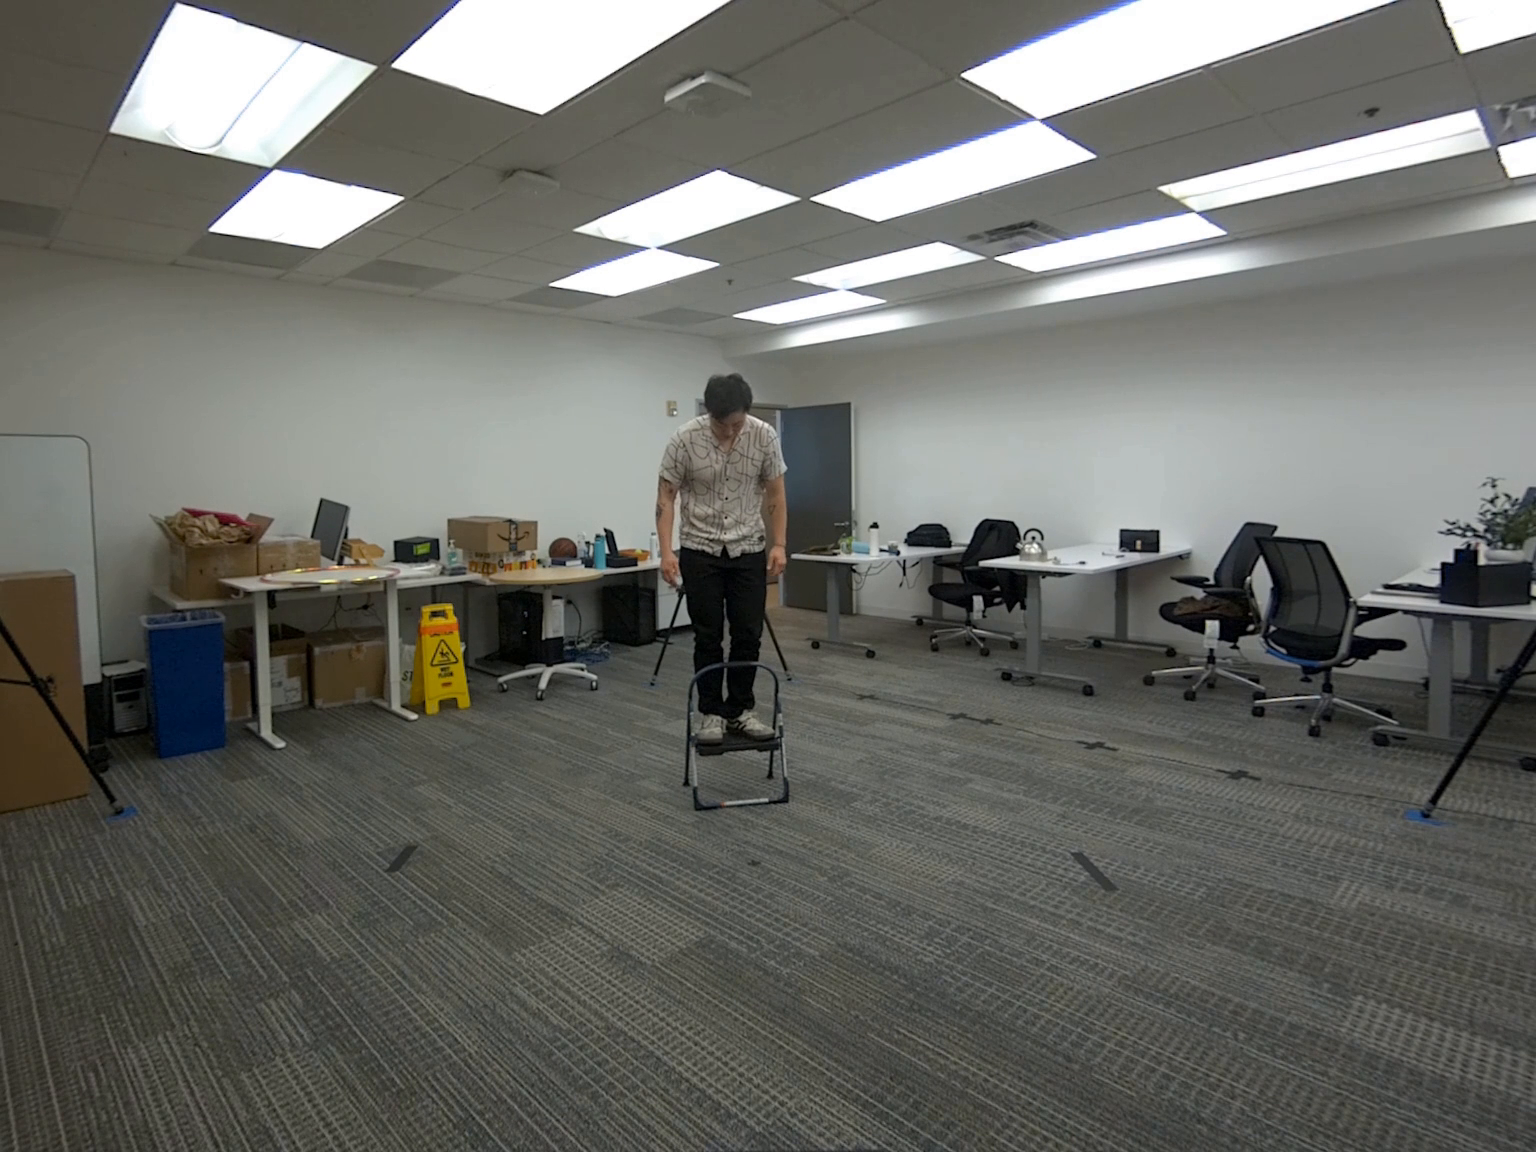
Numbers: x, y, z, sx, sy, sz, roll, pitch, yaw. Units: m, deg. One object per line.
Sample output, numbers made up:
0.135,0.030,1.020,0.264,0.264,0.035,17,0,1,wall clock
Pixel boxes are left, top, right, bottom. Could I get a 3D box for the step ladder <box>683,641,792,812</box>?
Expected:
-0.152,0.670,3.793,0.426,0.604,0.354,-2,4,-12,step ladder
